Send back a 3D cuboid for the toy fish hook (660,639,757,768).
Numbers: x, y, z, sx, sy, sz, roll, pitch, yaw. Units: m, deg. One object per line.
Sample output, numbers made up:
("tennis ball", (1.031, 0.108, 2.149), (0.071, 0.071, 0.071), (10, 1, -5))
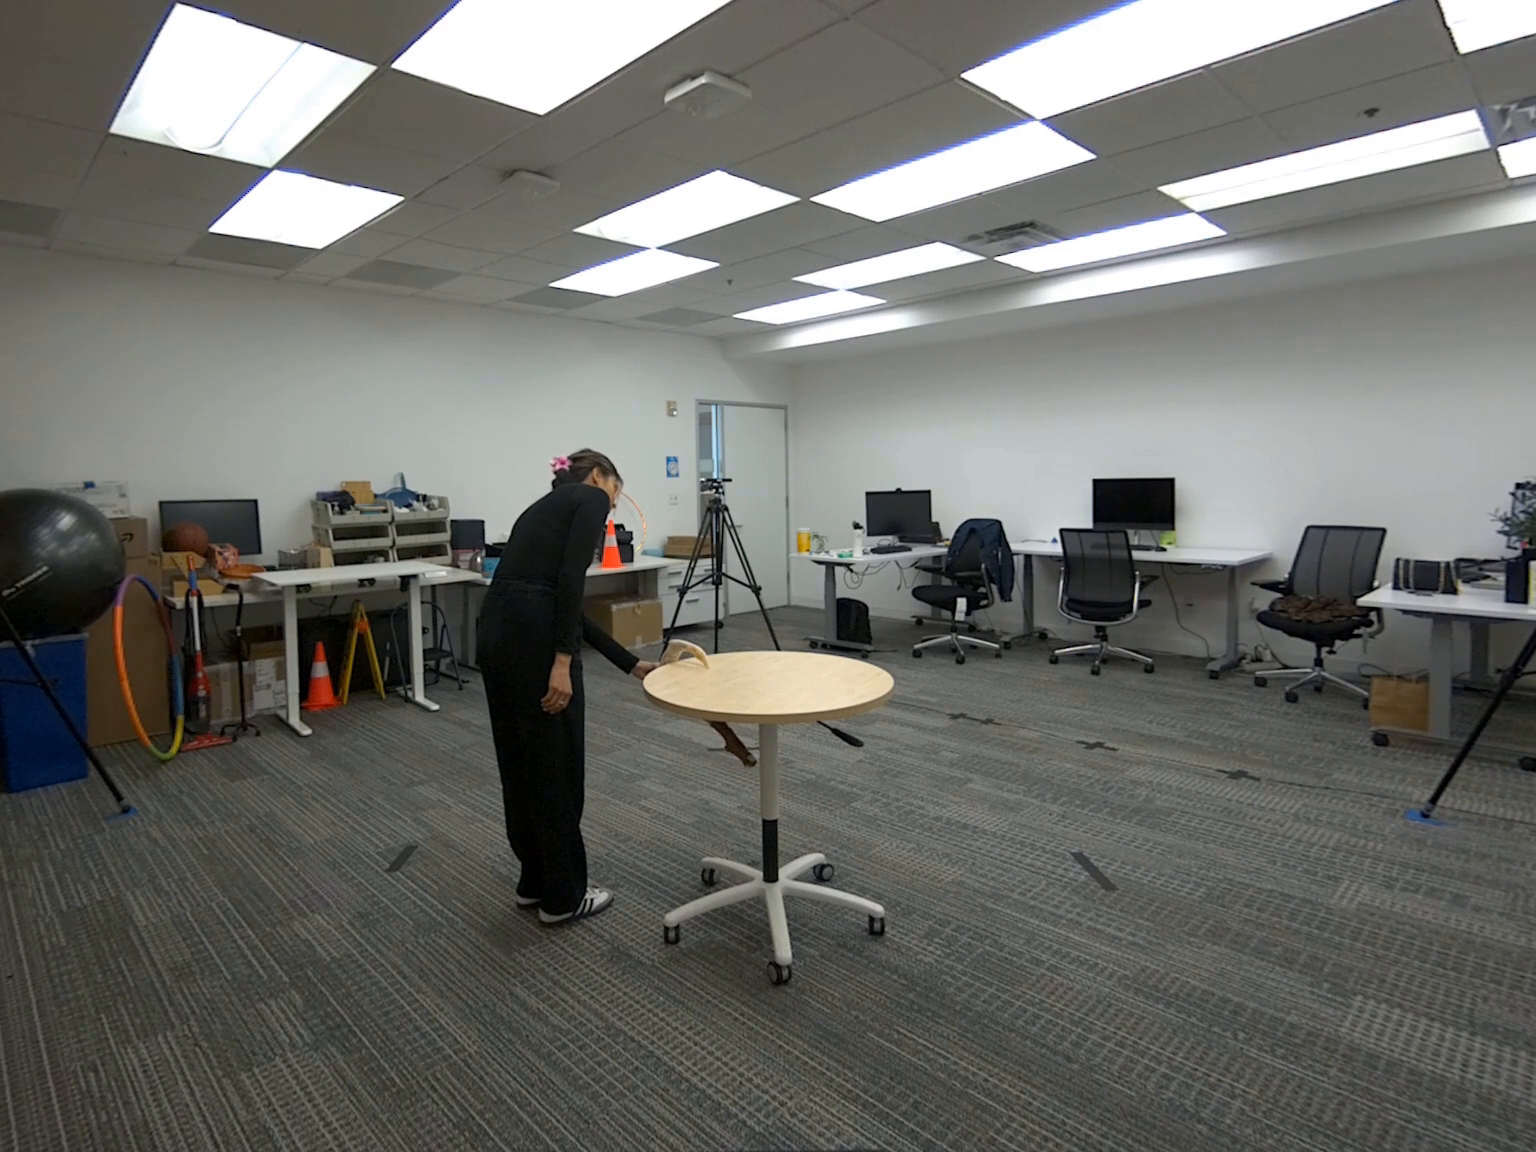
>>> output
("toy fish hook", (-0.198, 0.401, 2.772), (0.047, 0.222, 0.525), (-5, 36, -47))
